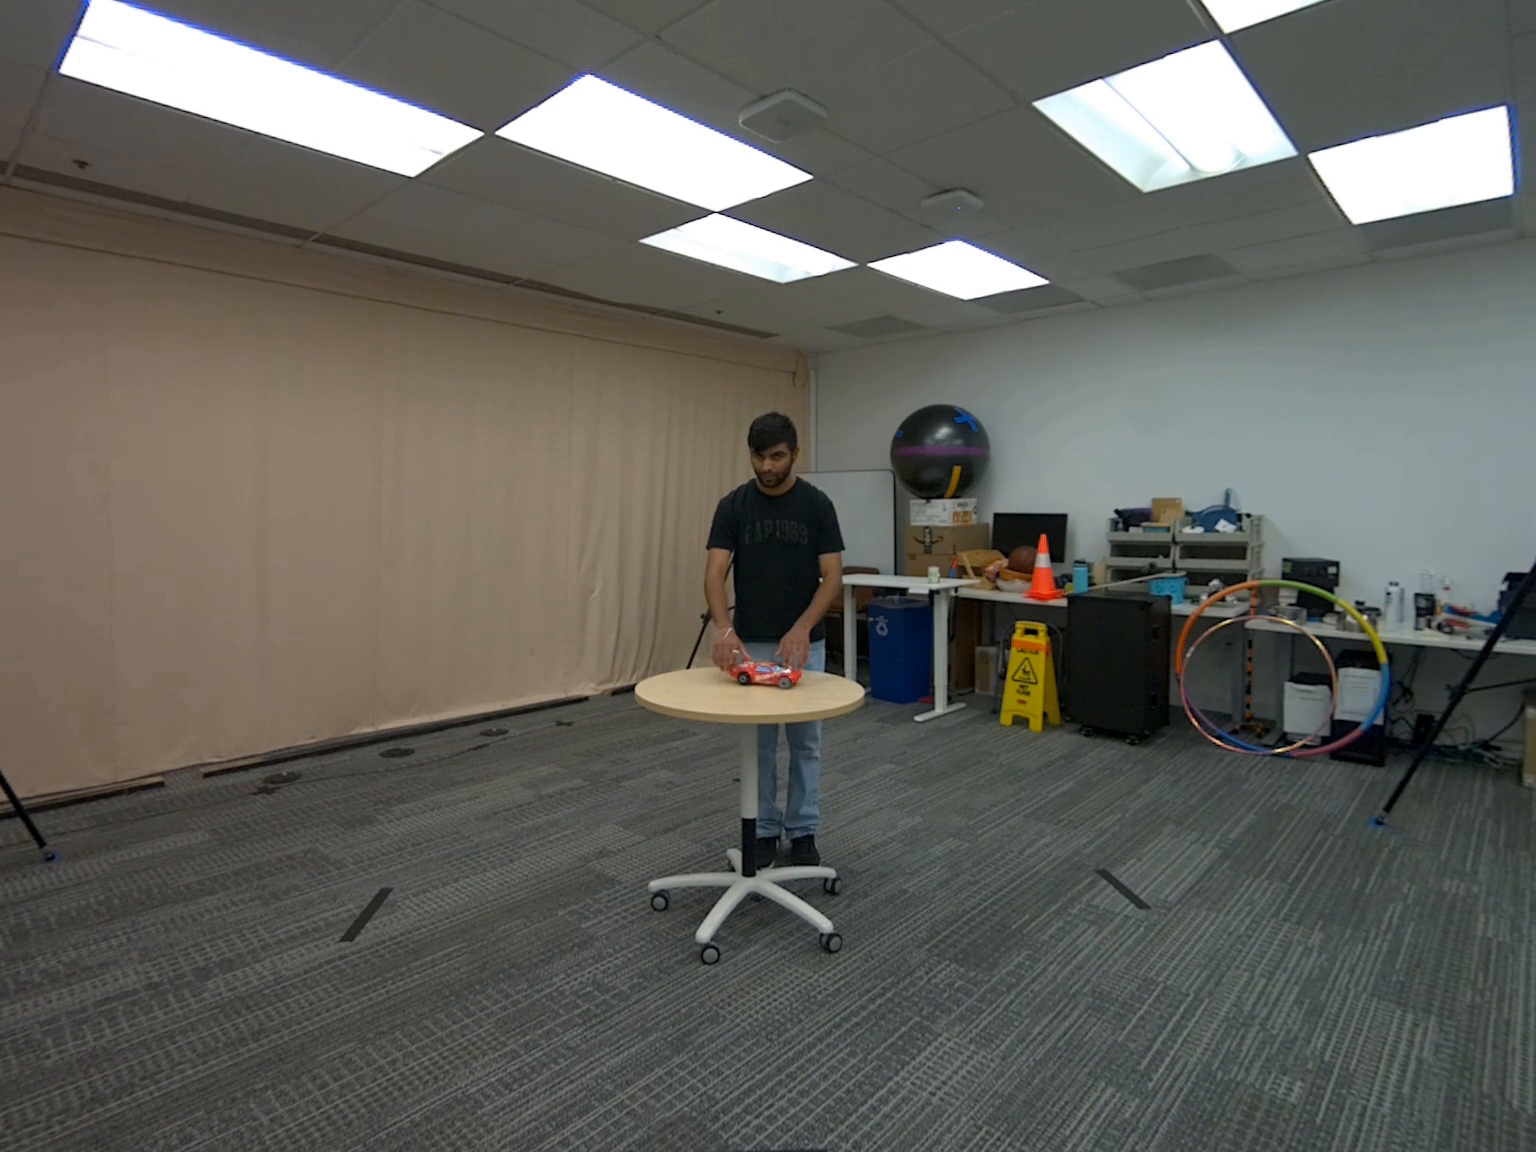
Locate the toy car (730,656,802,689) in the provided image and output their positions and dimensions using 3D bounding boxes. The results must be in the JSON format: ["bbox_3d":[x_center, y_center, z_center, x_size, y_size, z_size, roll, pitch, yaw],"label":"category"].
[{"bbox_3d":[-0.018,0.338,2.887,0.261,0.083,0.128,13,9,21],"label":"toy car"}]
